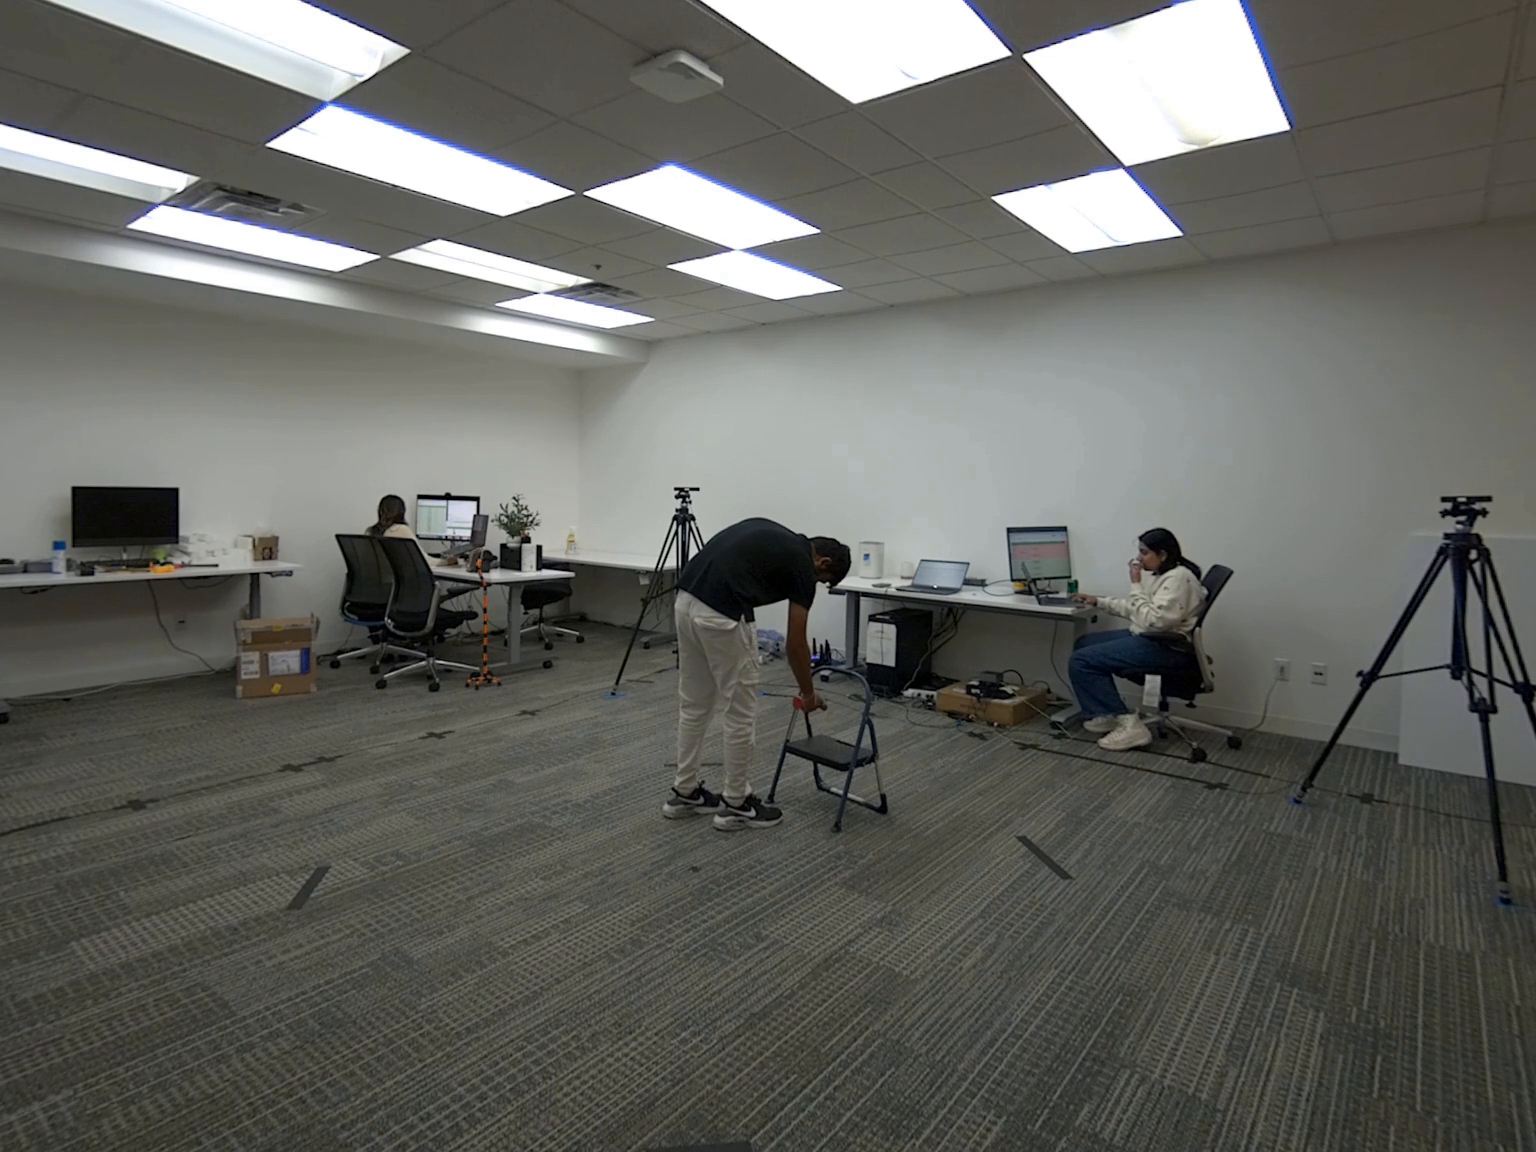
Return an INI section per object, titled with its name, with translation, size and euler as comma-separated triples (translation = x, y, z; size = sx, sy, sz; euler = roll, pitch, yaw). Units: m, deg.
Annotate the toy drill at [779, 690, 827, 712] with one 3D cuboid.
[toy drill]
translation = 0.153, 0.554, 3.761
size = 0.142, 0.061, 0.174
euler = 2, 1, -25
